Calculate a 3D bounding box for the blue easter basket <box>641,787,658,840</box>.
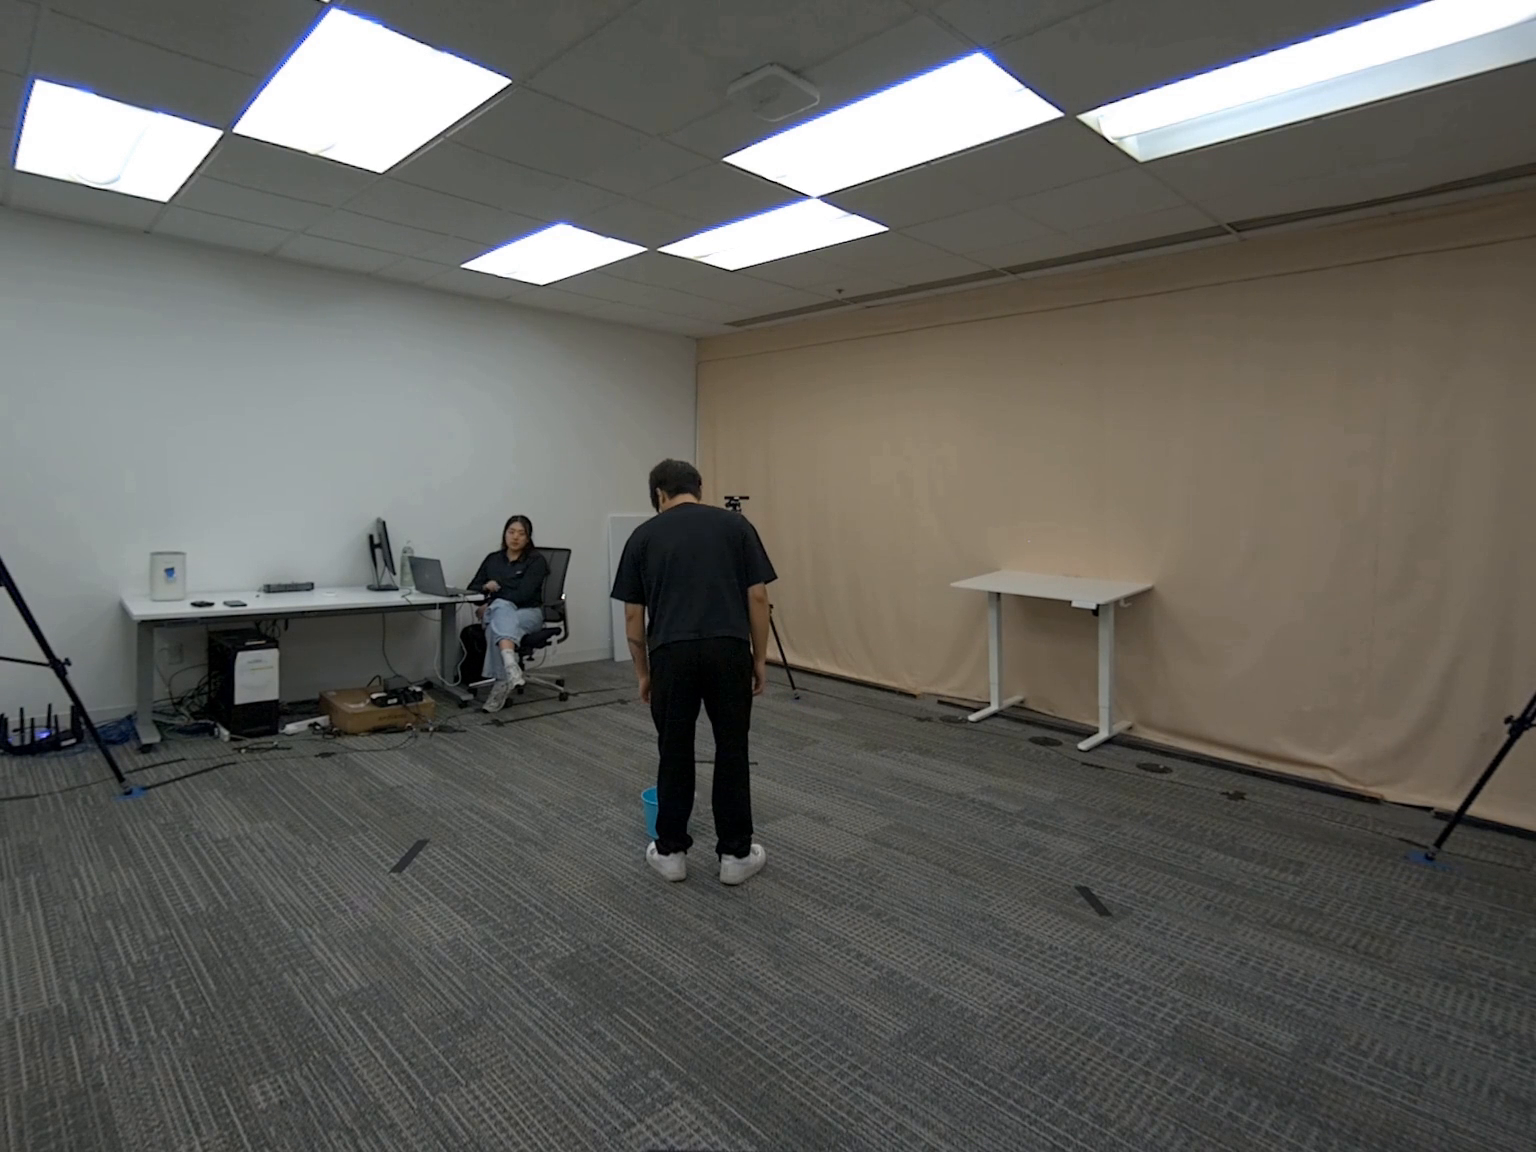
[{"bbox_3d":[-0.414,0.986,3.503,0.243,0.155,0.244,2,5,-2],"label":"blue easter basket"}]
